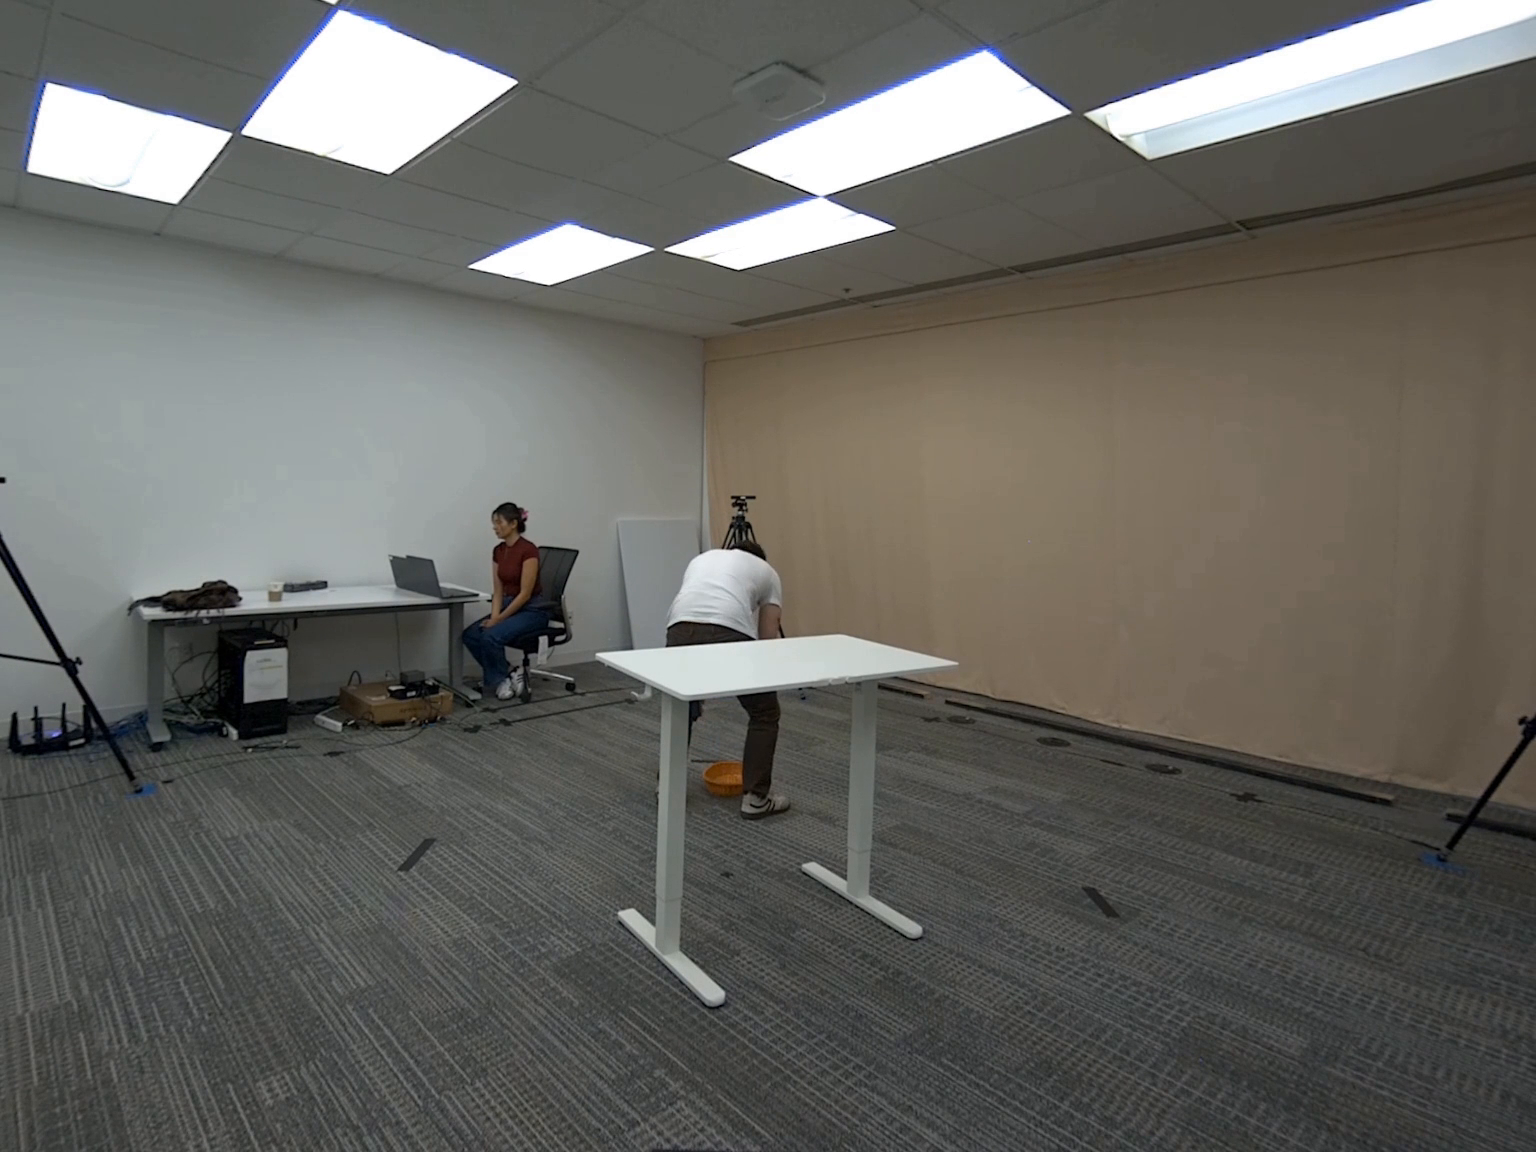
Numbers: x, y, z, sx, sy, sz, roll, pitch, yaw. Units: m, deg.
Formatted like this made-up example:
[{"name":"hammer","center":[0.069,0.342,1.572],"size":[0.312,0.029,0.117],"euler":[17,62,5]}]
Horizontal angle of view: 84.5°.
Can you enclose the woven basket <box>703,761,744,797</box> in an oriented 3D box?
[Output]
[{"name":"woven basket","center":[-0.194,0.980,4.069],"size":[0.256,0.073,0.346],"euler":[4,5,16]}]
